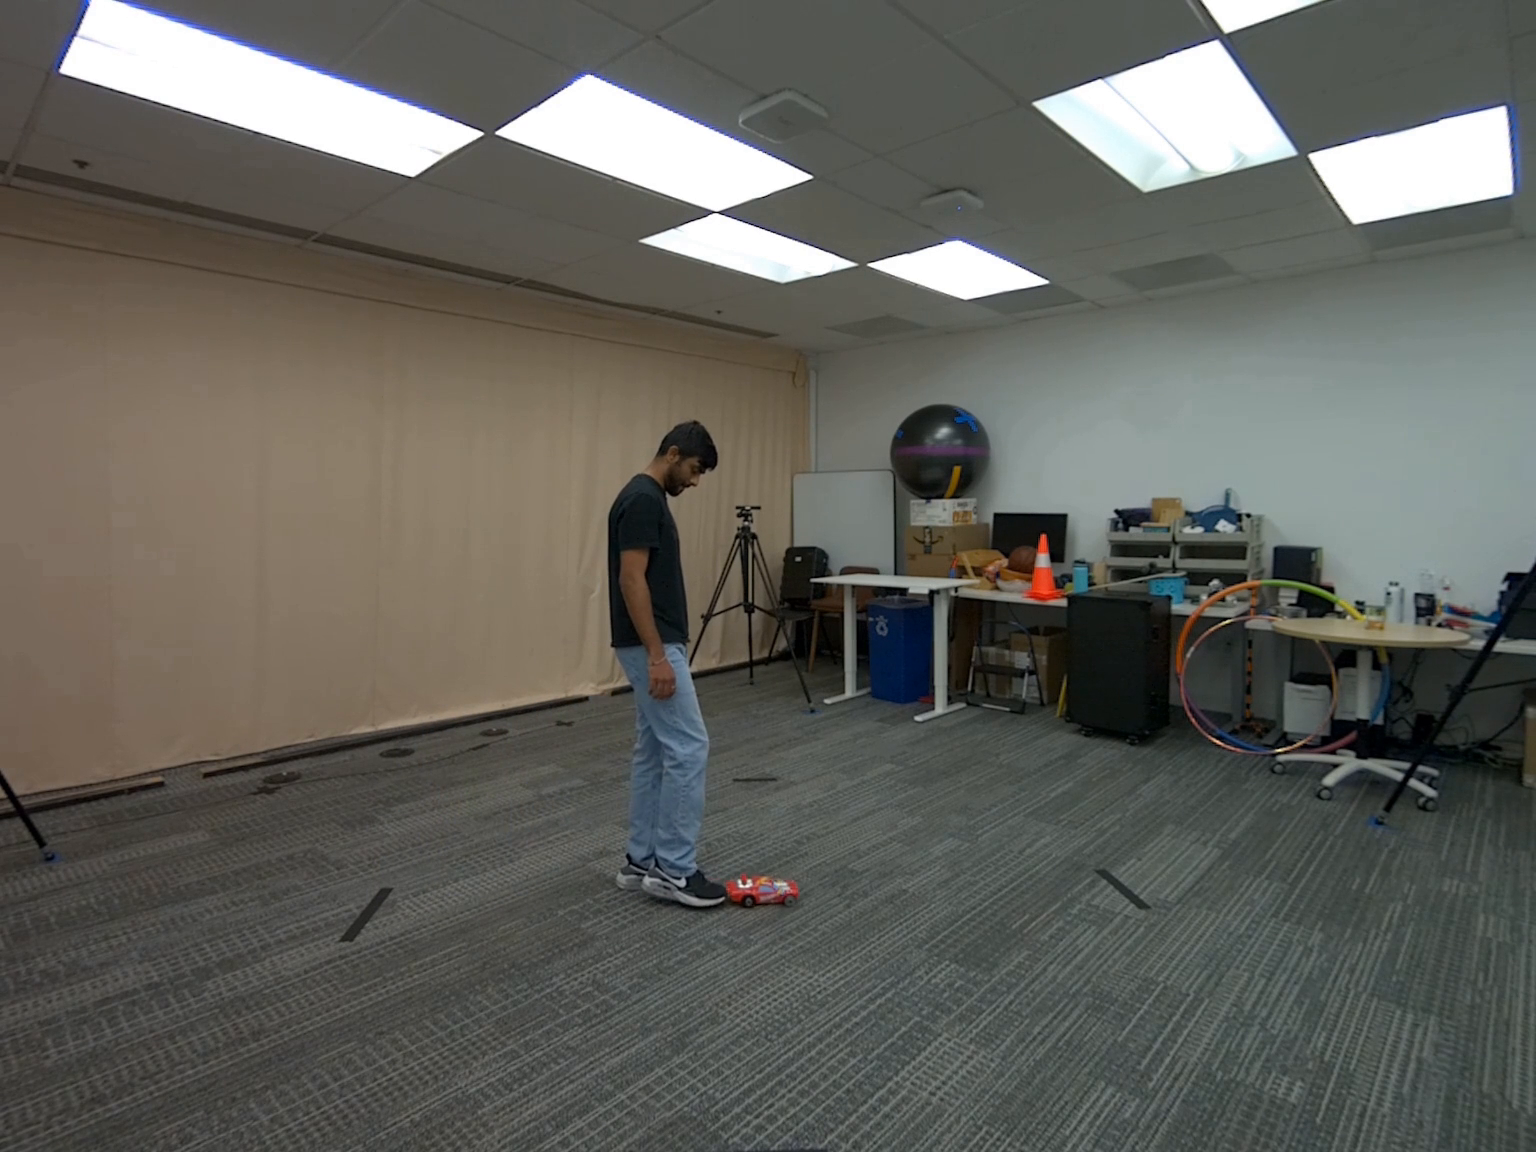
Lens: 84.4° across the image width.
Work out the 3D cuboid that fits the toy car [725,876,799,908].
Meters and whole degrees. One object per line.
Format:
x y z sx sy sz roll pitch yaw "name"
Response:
-0.024 1.116 2.962 0.253 0.083 0.131 12 4 -6 "toy car"
